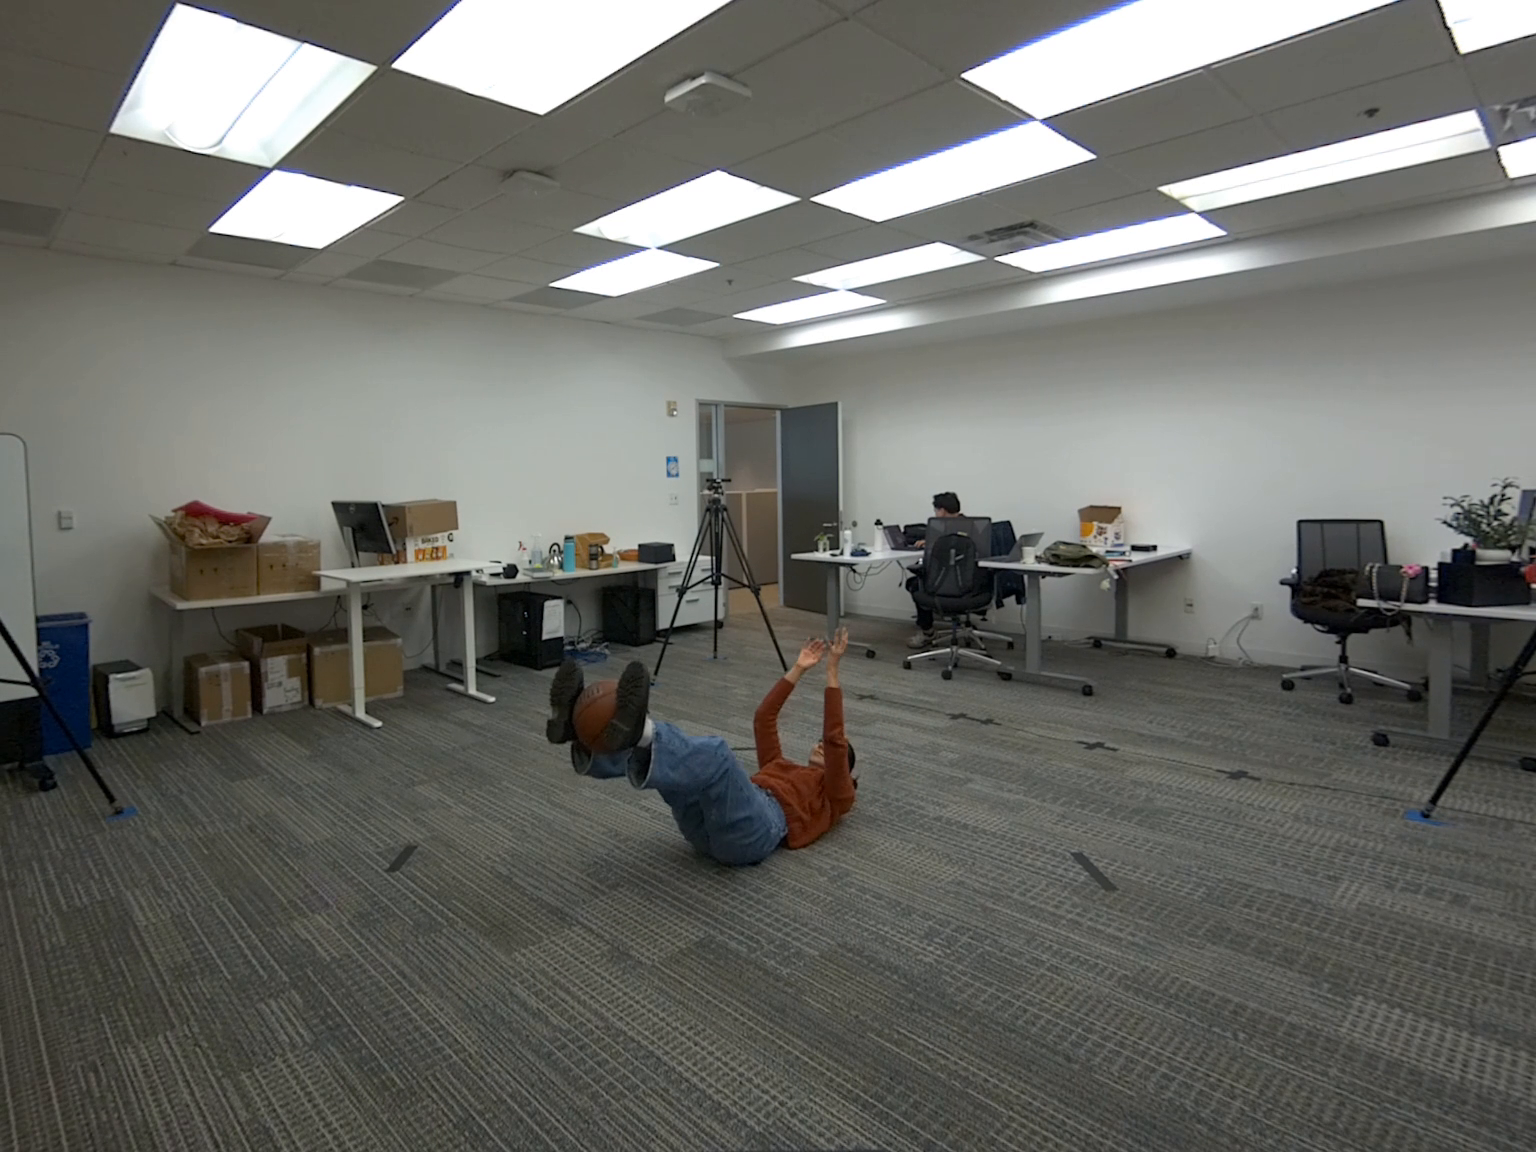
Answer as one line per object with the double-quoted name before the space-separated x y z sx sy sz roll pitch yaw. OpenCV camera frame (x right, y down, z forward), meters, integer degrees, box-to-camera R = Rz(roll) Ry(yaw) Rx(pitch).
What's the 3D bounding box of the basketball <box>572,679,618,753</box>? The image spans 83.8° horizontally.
"basketball" -0.495 0.453 2.734 0.236 0.236 0.236 0 1 -2
